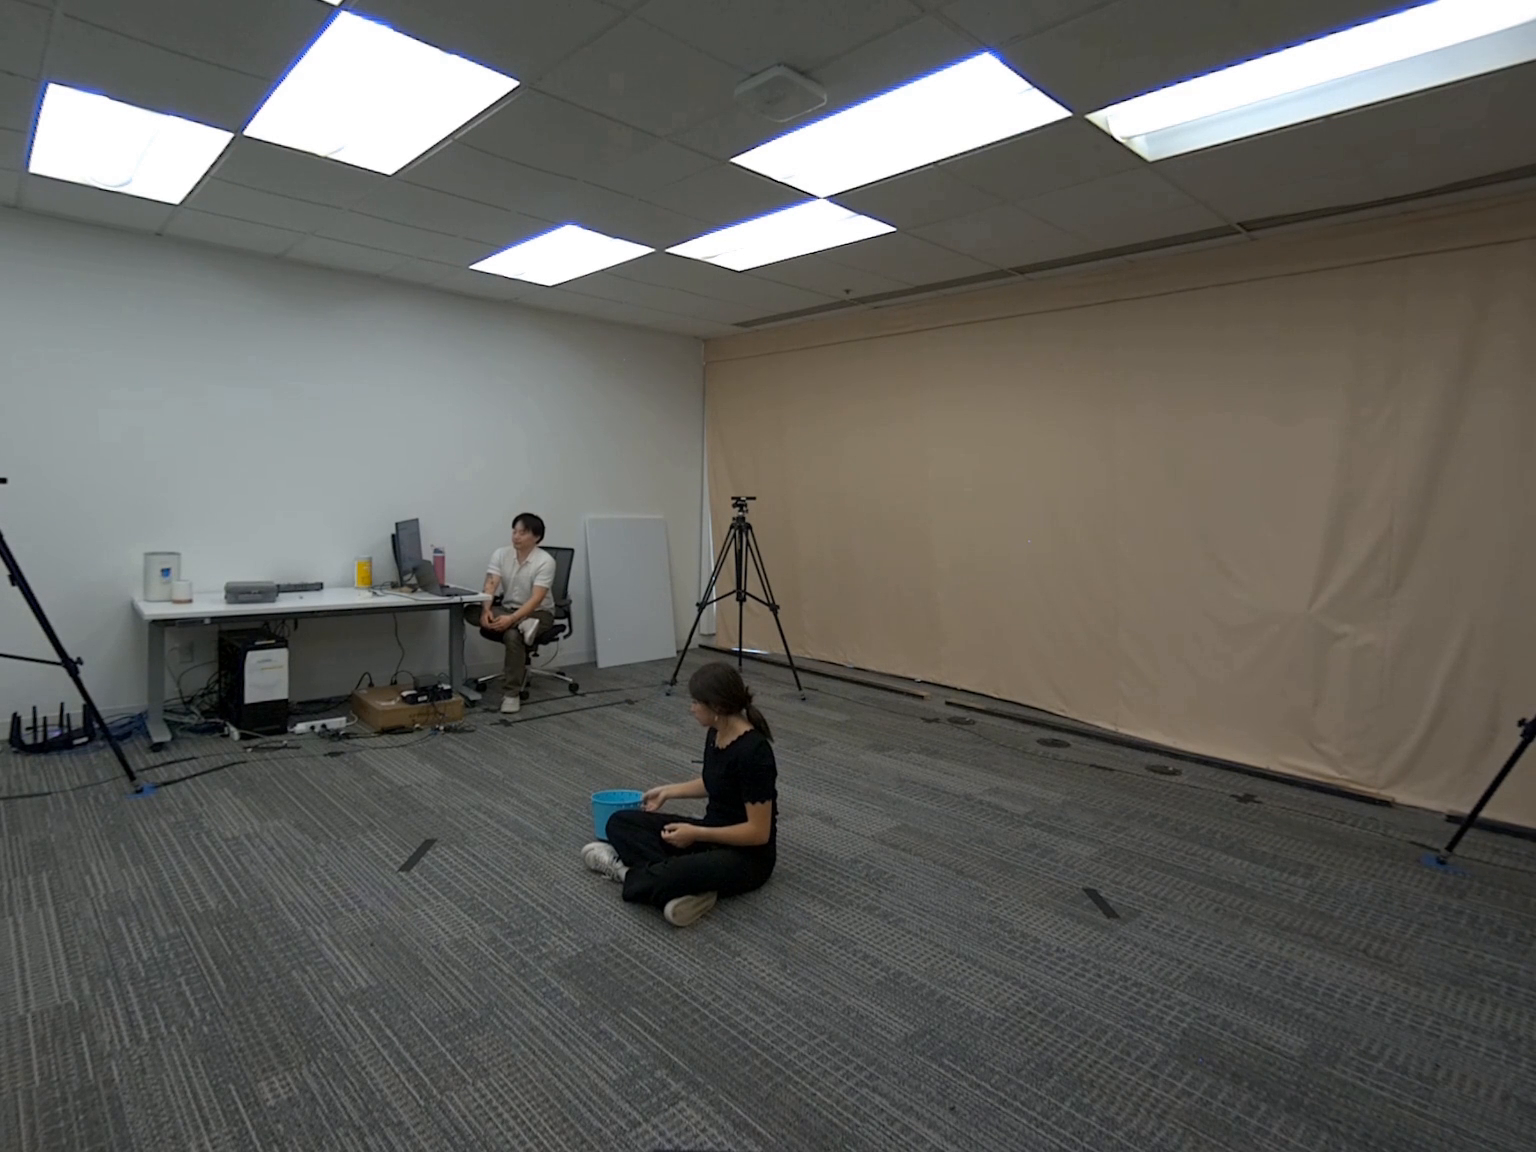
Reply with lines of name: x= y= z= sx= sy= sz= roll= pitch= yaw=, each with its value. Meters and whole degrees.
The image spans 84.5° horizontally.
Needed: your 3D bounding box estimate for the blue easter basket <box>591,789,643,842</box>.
blue easter basket: x=-0.614 y=0.969 z=3.432 sx=0.243 sy=0.156 sz=0.243 roll=1 pitch=-1 yaw=-1
